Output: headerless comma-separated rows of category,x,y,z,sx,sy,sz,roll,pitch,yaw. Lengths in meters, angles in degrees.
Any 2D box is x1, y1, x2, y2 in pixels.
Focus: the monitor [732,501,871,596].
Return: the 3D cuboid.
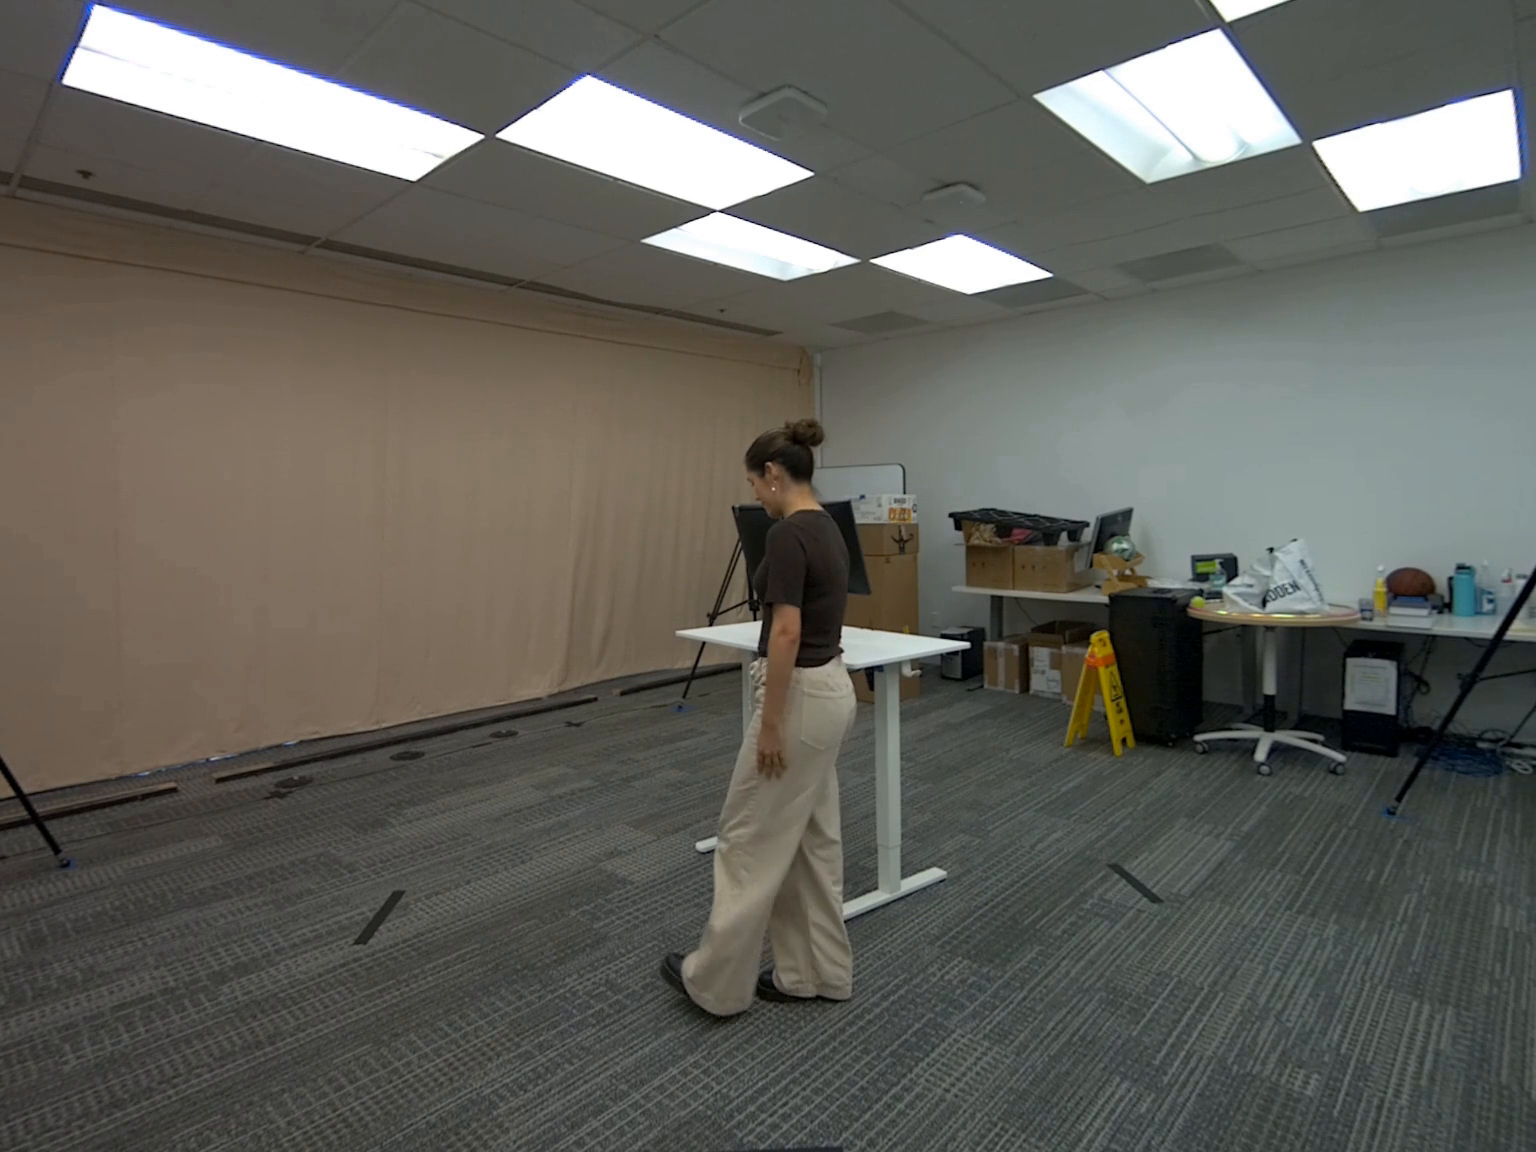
monitor,0.103,-0.007,3.063,0.556,0.520,0.182,1,7,39
